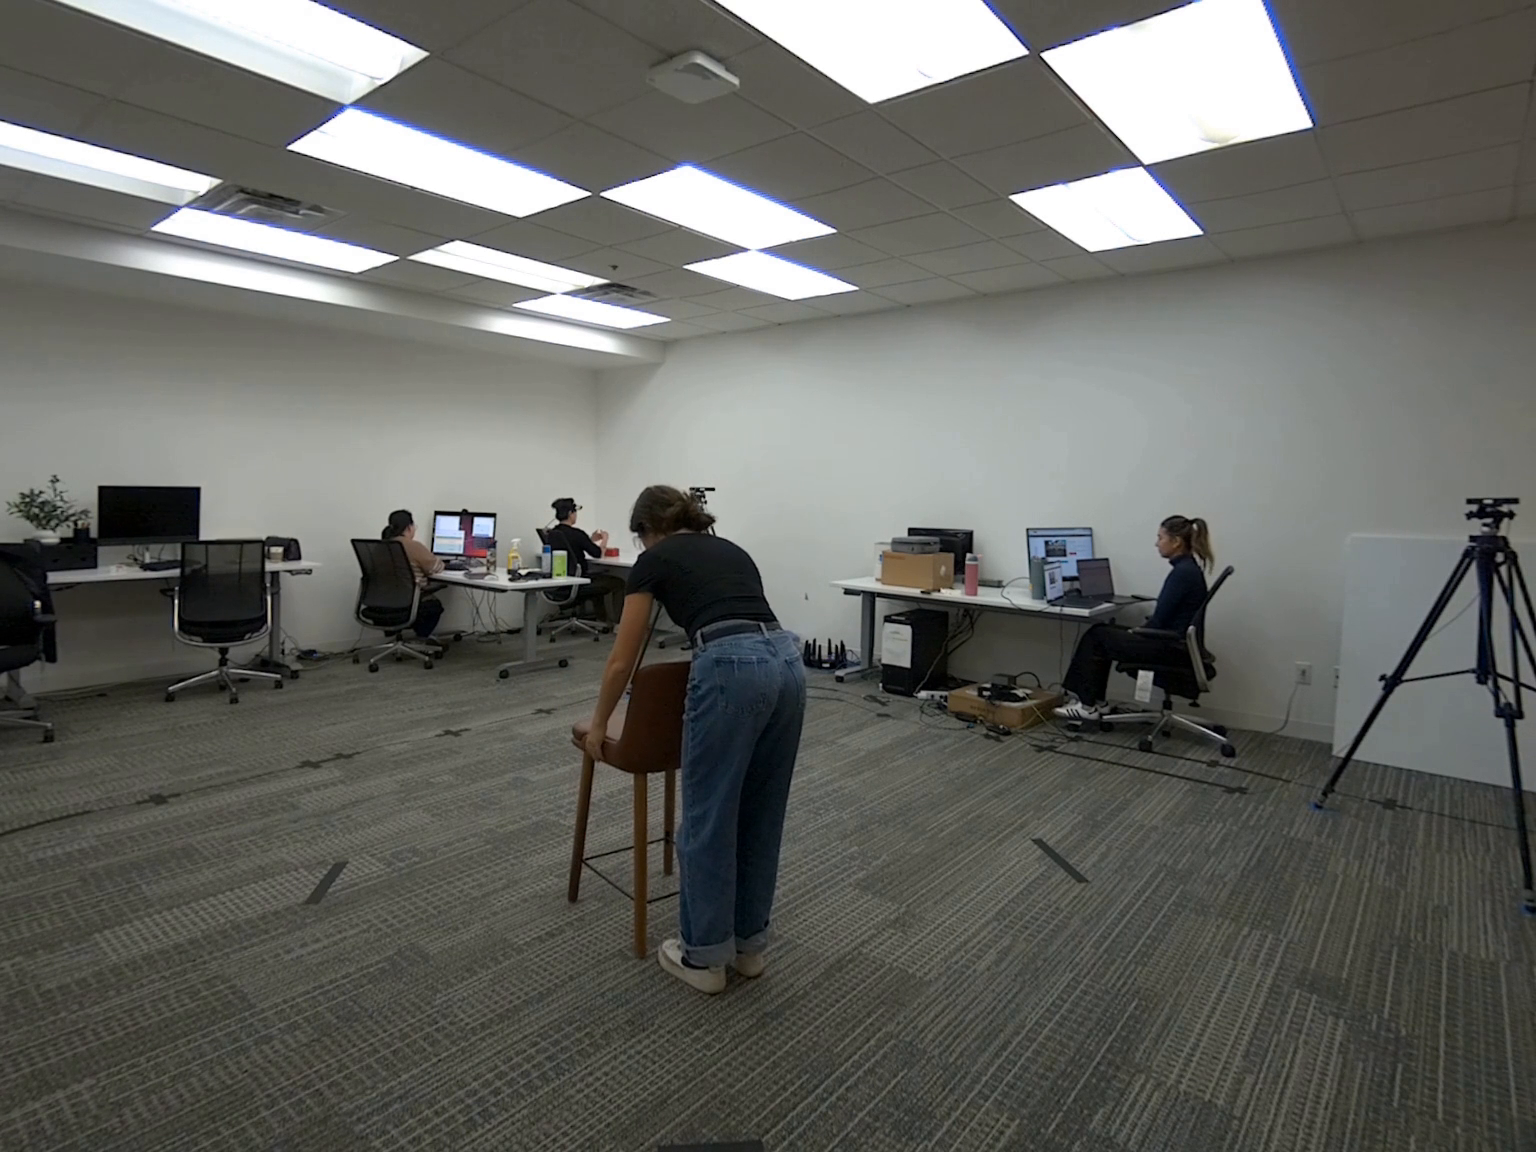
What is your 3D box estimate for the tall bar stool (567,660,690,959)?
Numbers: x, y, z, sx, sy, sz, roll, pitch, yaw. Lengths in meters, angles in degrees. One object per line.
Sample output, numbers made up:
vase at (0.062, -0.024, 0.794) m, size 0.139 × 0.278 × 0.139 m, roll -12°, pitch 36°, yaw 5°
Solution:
tall bar stool at (-0.373, 0.661, 2.757) m, size 0.443 × 0.886 × 0.484 m, roll -2°, pitch 6°, yaw -38°
